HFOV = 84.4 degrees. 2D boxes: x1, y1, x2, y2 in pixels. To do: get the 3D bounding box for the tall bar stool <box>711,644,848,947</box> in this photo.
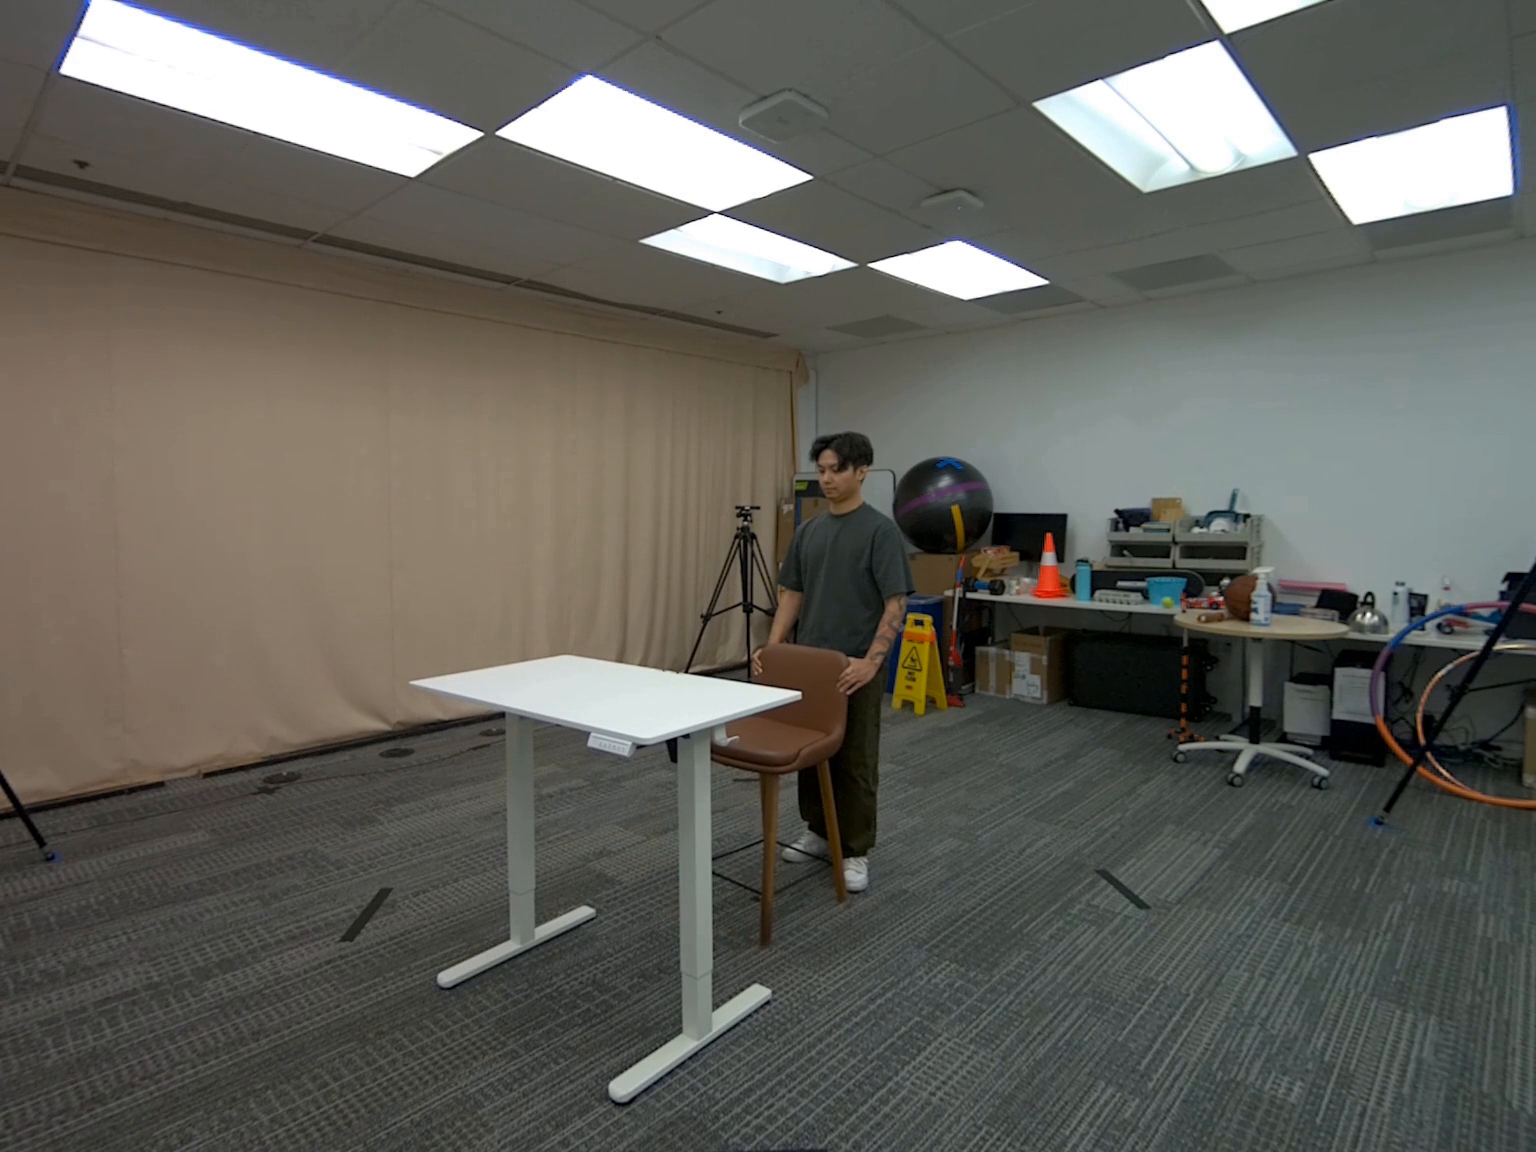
[{"bbox_3d":[0.001,0.713,2.928,0.472,0.888,0.453,4,3,44],"label":"tall bar stool"}]
